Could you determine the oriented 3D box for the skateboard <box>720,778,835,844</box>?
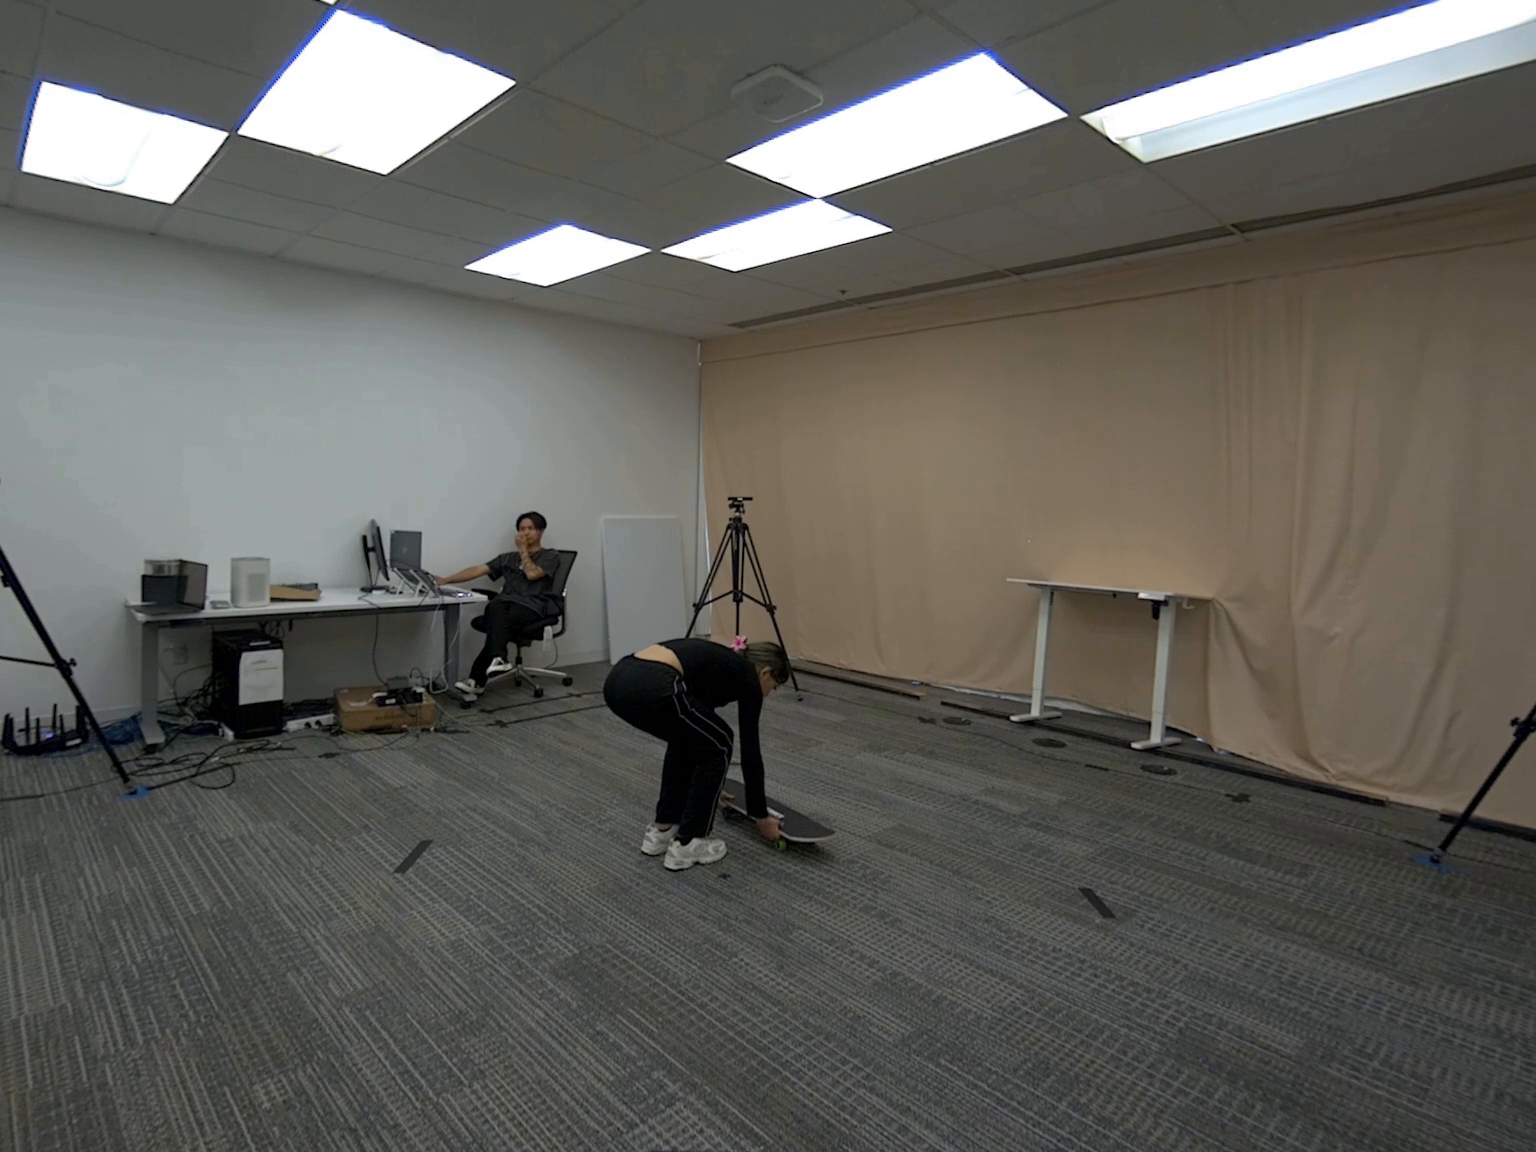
[{"bbox_3d":[-0.017,1.007,3.550,0.189,0.110,0.805,1,5,-35],"label":"skateboard"}]
